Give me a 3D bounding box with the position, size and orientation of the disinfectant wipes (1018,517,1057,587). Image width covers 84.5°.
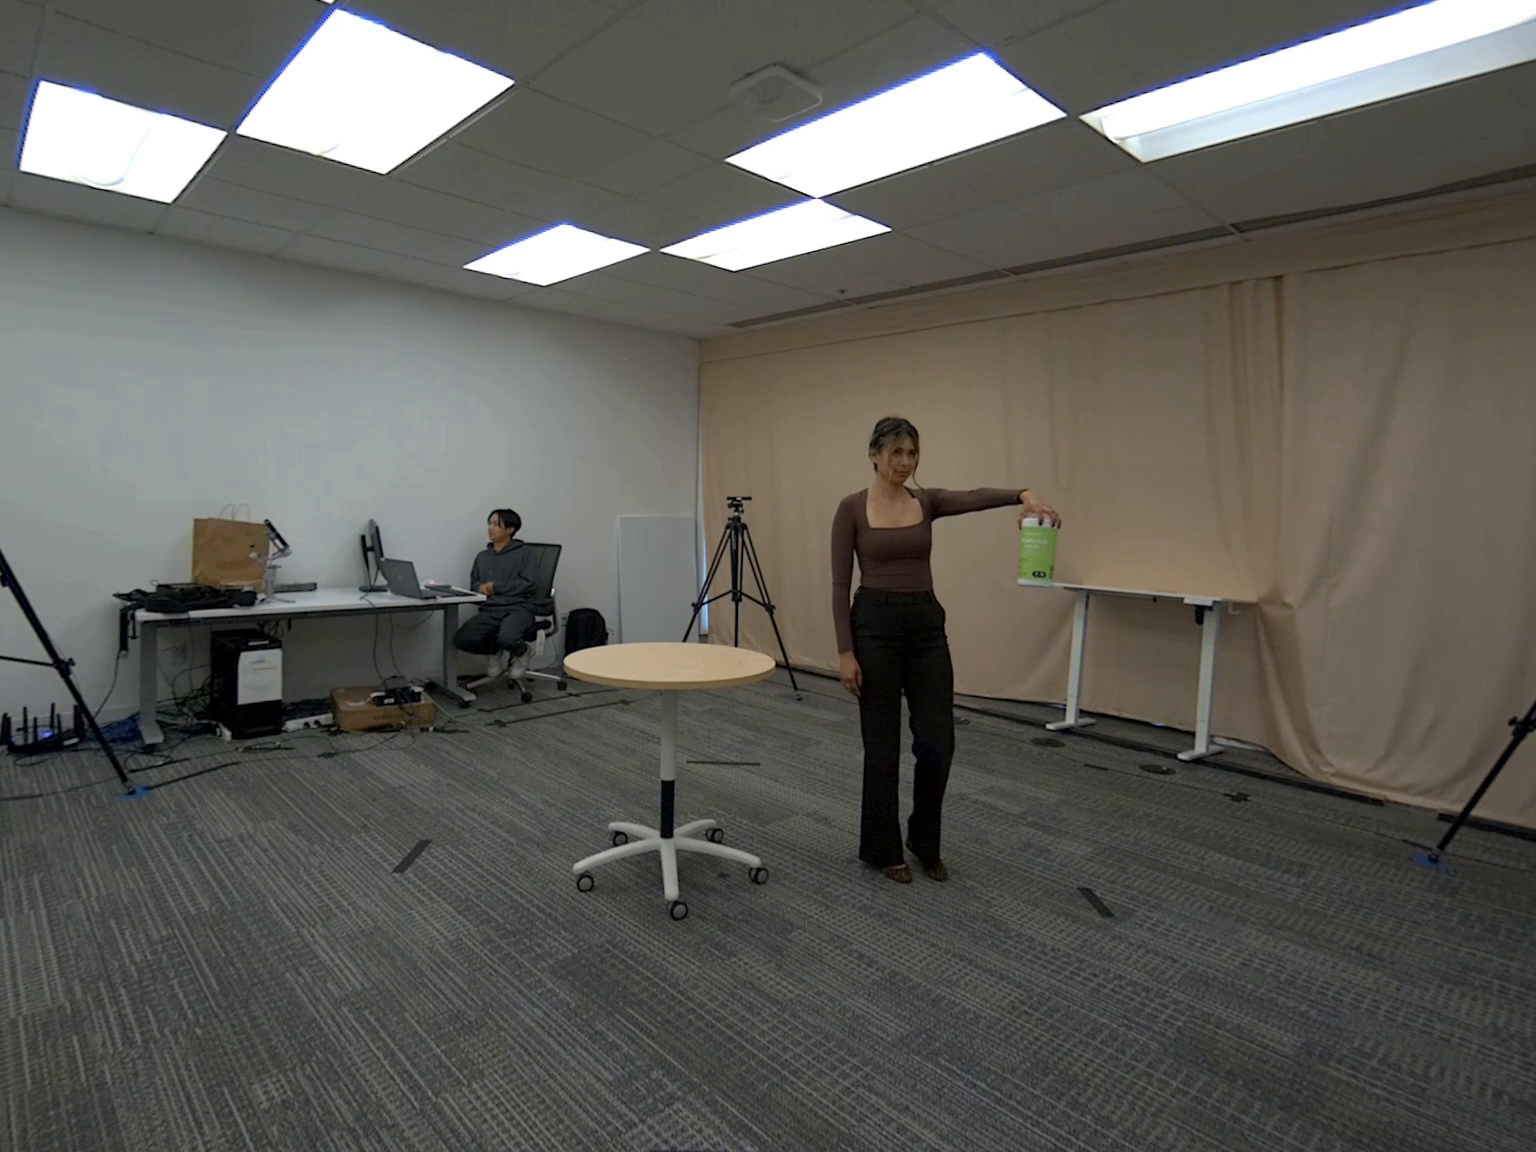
[{"bbox_3d":[0.854,-0.070,2.678,0.118,0.217,0.118,3,1,-1],"label":"disinfectant wipes"}]
